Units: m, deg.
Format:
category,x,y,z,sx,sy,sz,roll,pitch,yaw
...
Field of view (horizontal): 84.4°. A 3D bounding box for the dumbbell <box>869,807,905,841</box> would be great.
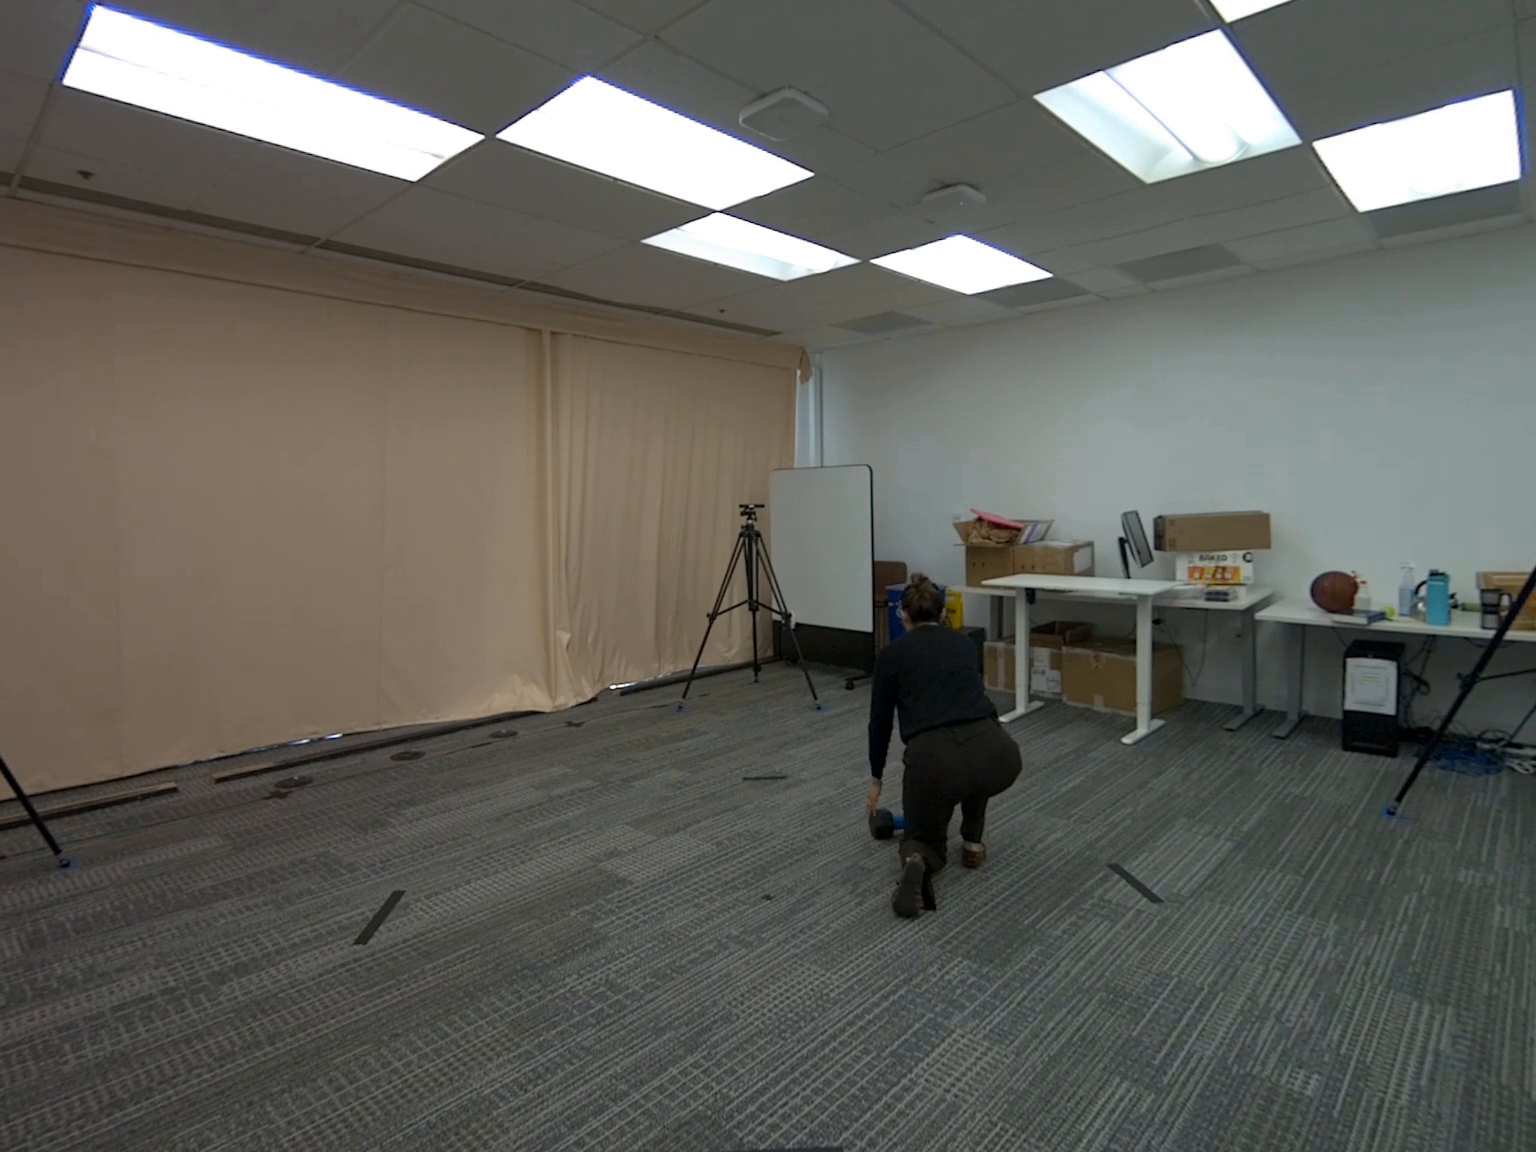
category,x,y,z,sx,sy,sz,roll,pitch,yaw
dumbbell,0.584,1.037,3.508,0.292,0.125,0.107,-2,-31,-6
